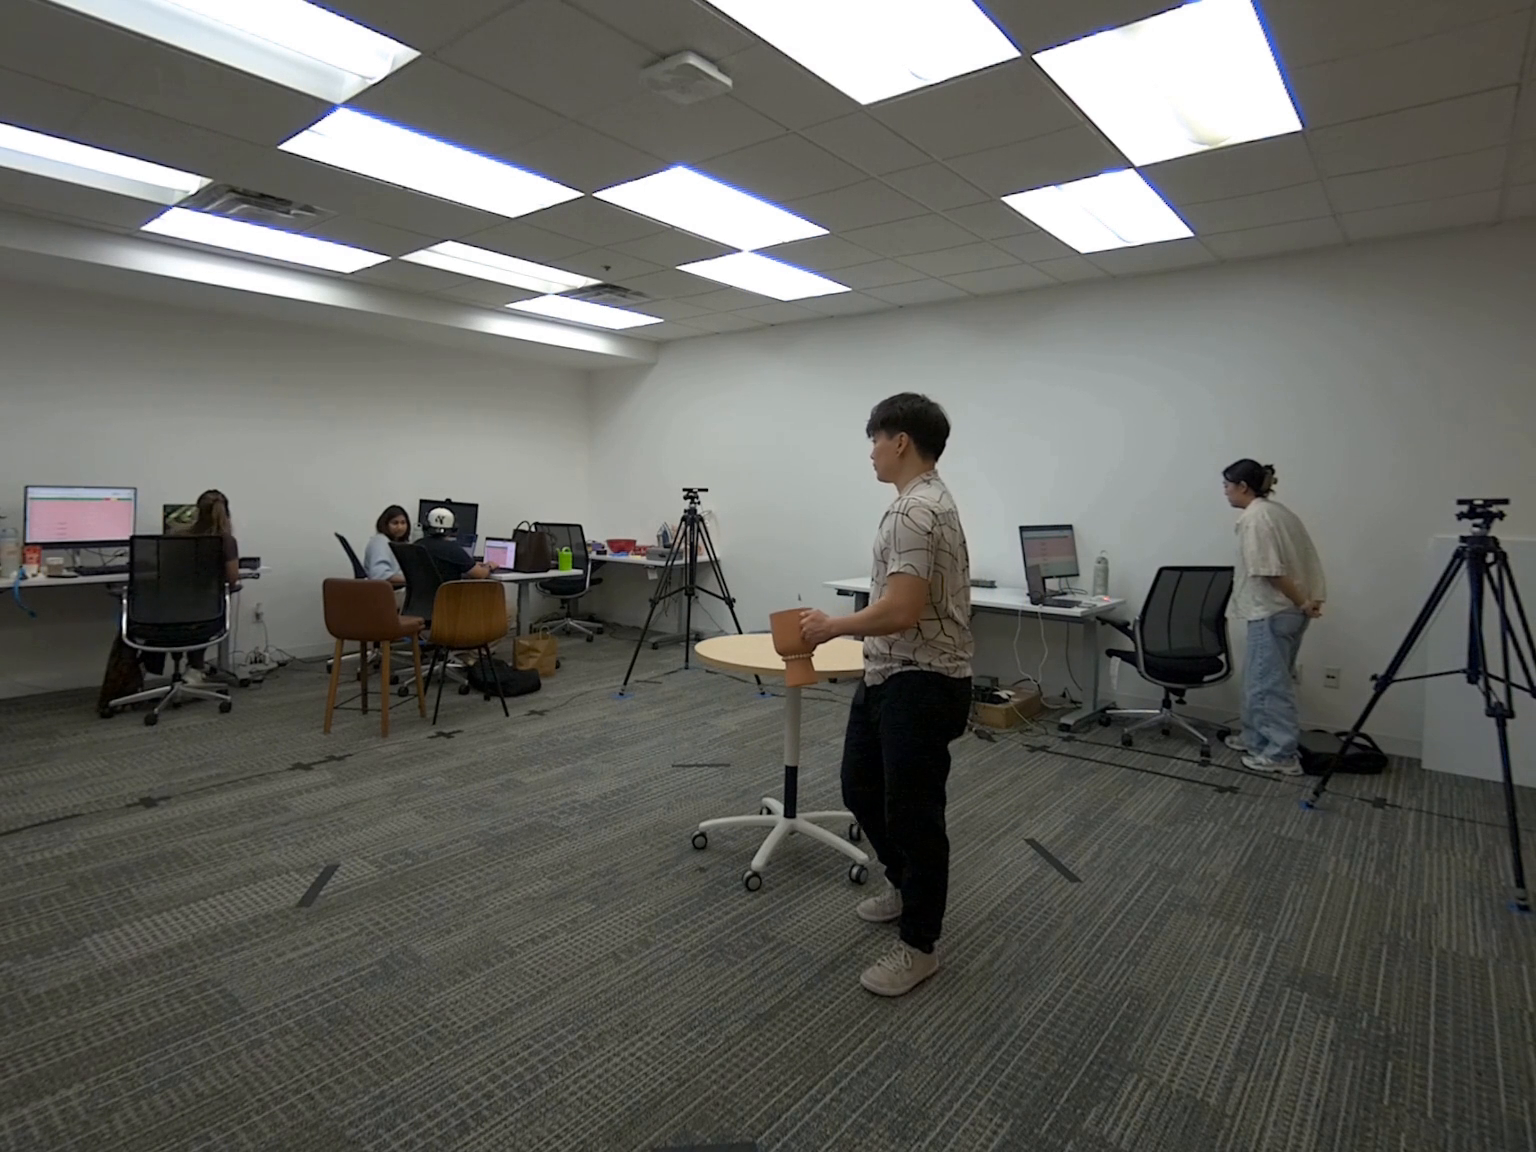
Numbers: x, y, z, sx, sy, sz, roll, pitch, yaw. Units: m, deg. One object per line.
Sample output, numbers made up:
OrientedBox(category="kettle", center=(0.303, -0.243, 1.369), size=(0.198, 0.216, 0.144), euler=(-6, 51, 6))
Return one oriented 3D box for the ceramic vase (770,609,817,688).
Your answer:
OrientedBox(category="ceramic vase", center=(0.085, 0.211, 2.531), size=(0.136, 0.222, 0.156), euler=(-10, -9, 10))
